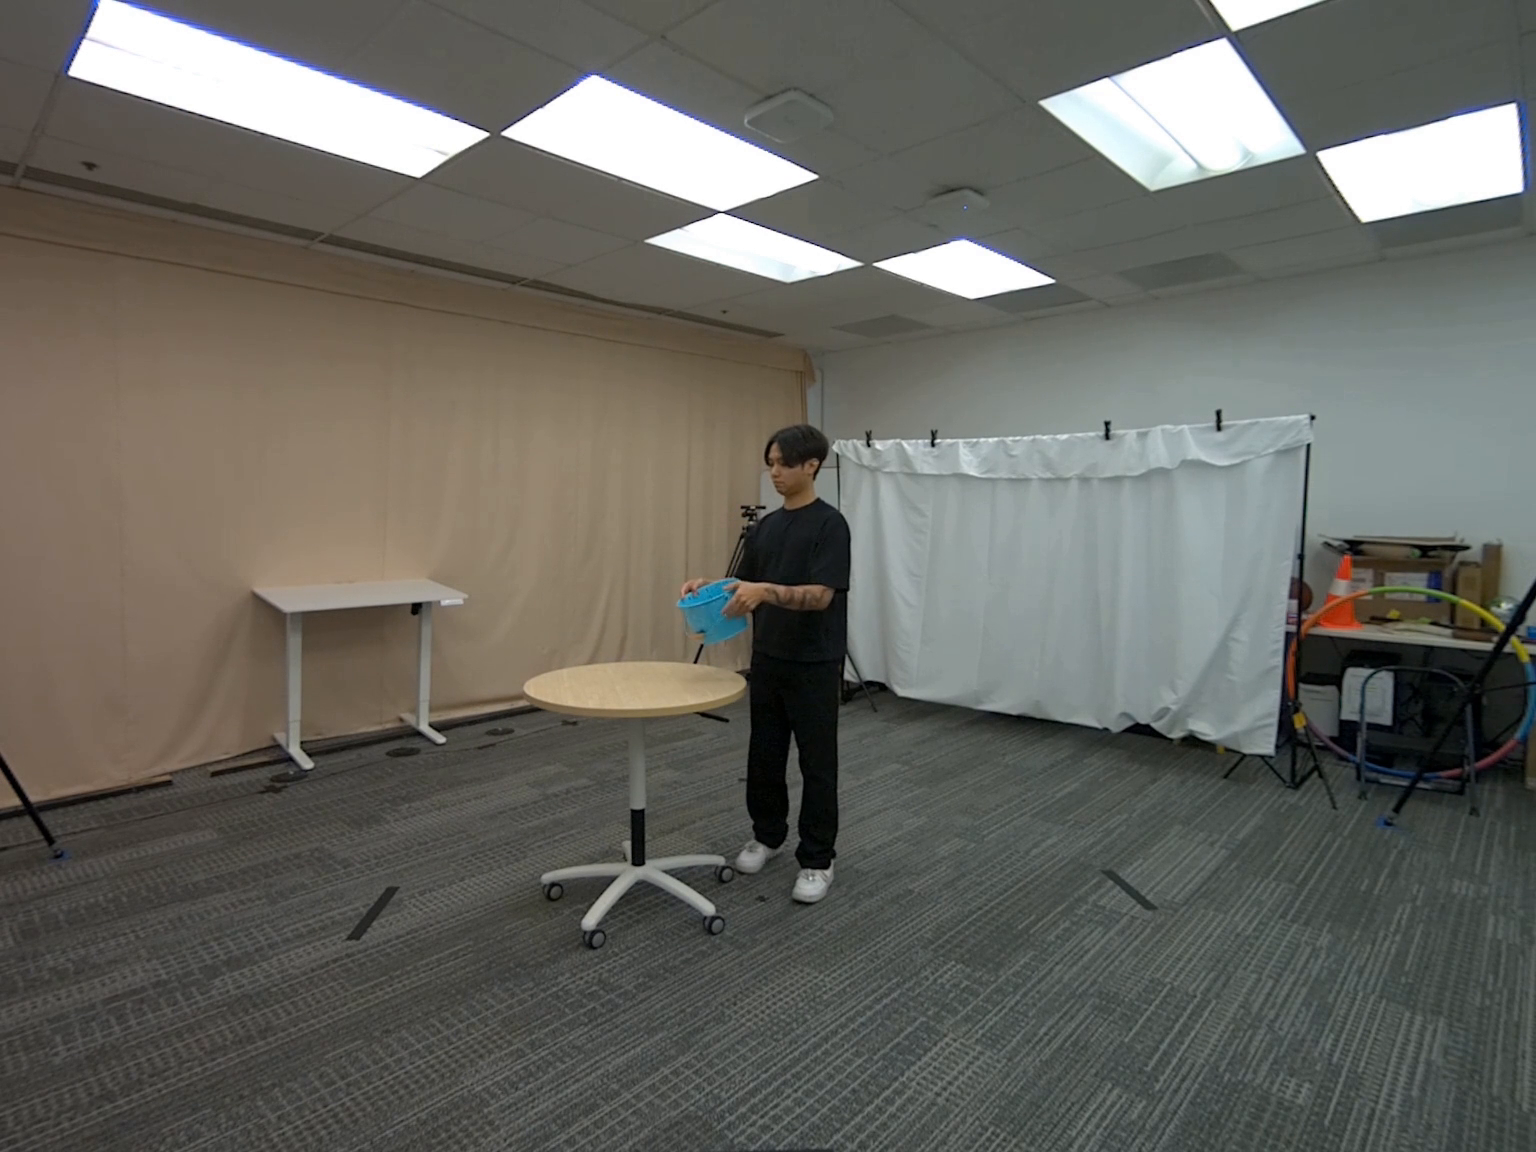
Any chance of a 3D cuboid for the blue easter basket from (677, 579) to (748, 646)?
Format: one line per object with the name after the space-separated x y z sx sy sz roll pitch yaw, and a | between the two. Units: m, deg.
-0.191 0.129 2.896 0.244 0.154 0.245 -11 10 0 | blue easter basket
